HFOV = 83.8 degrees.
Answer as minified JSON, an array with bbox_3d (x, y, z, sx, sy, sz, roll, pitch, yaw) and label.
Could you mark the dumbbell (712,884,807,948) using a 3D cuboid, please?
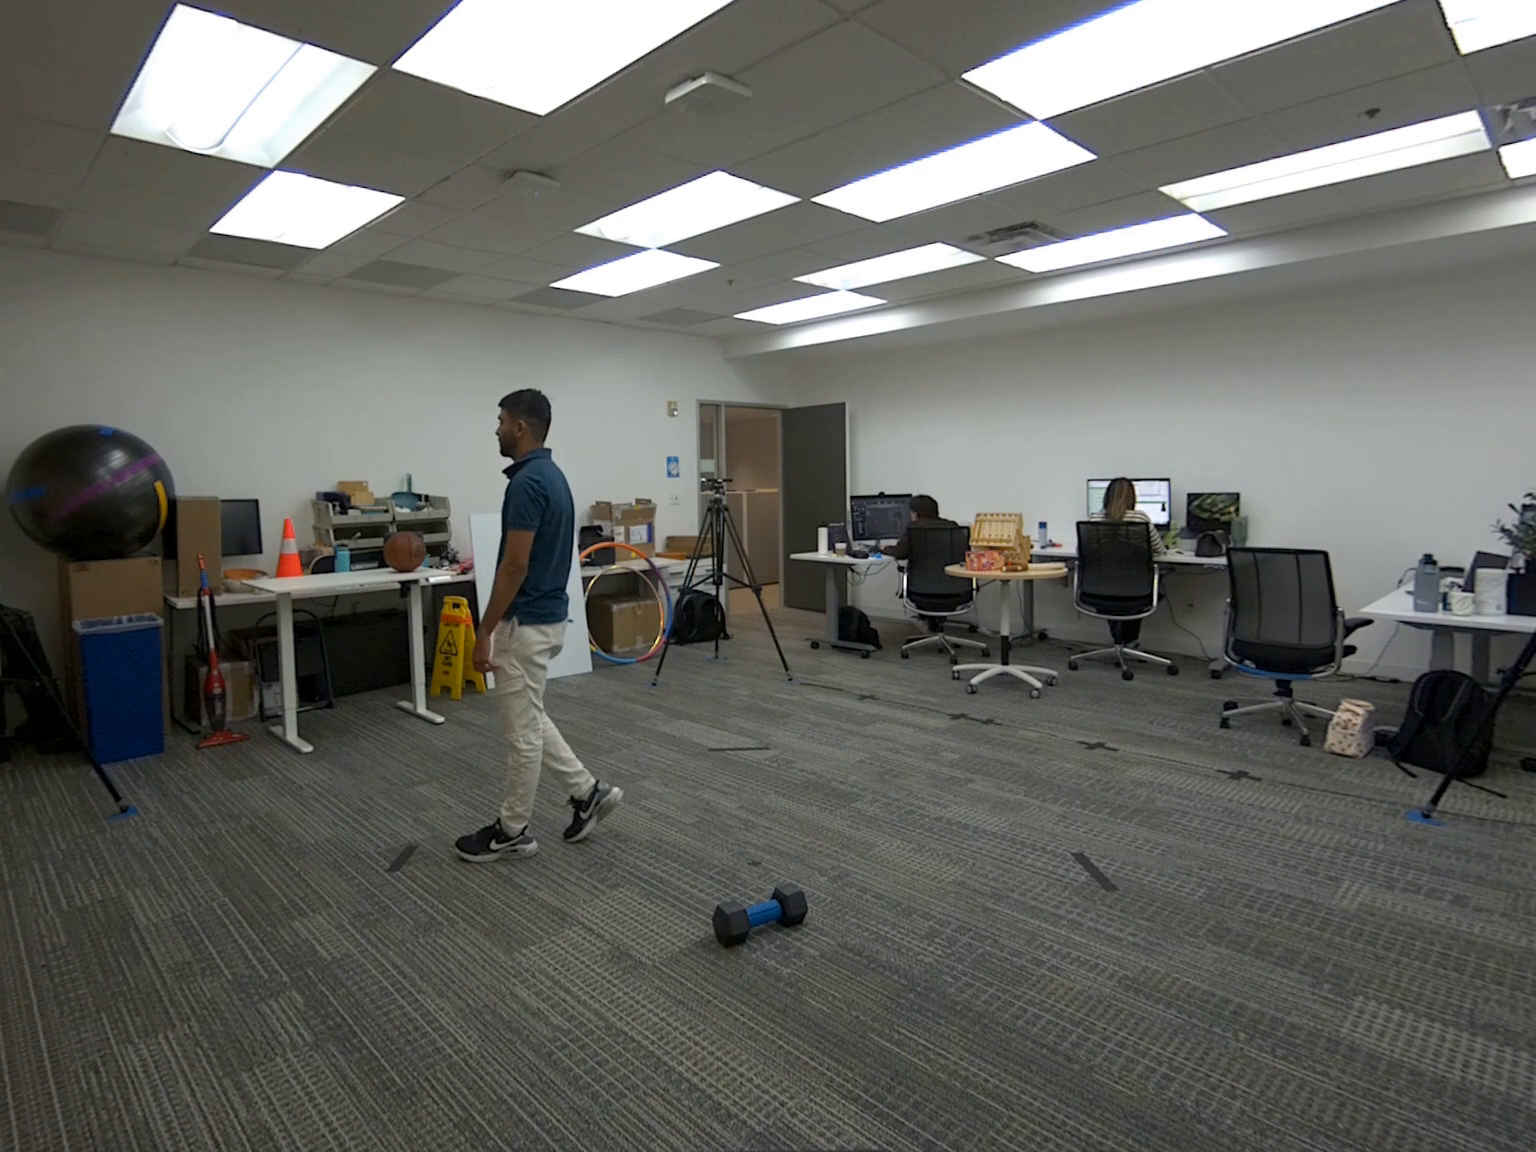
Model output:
[{"bbox_3d":[-0.015,1.044,2.636,0.287,0.121,0.113,-4,37,-31],"label":"dumbbell"}]
